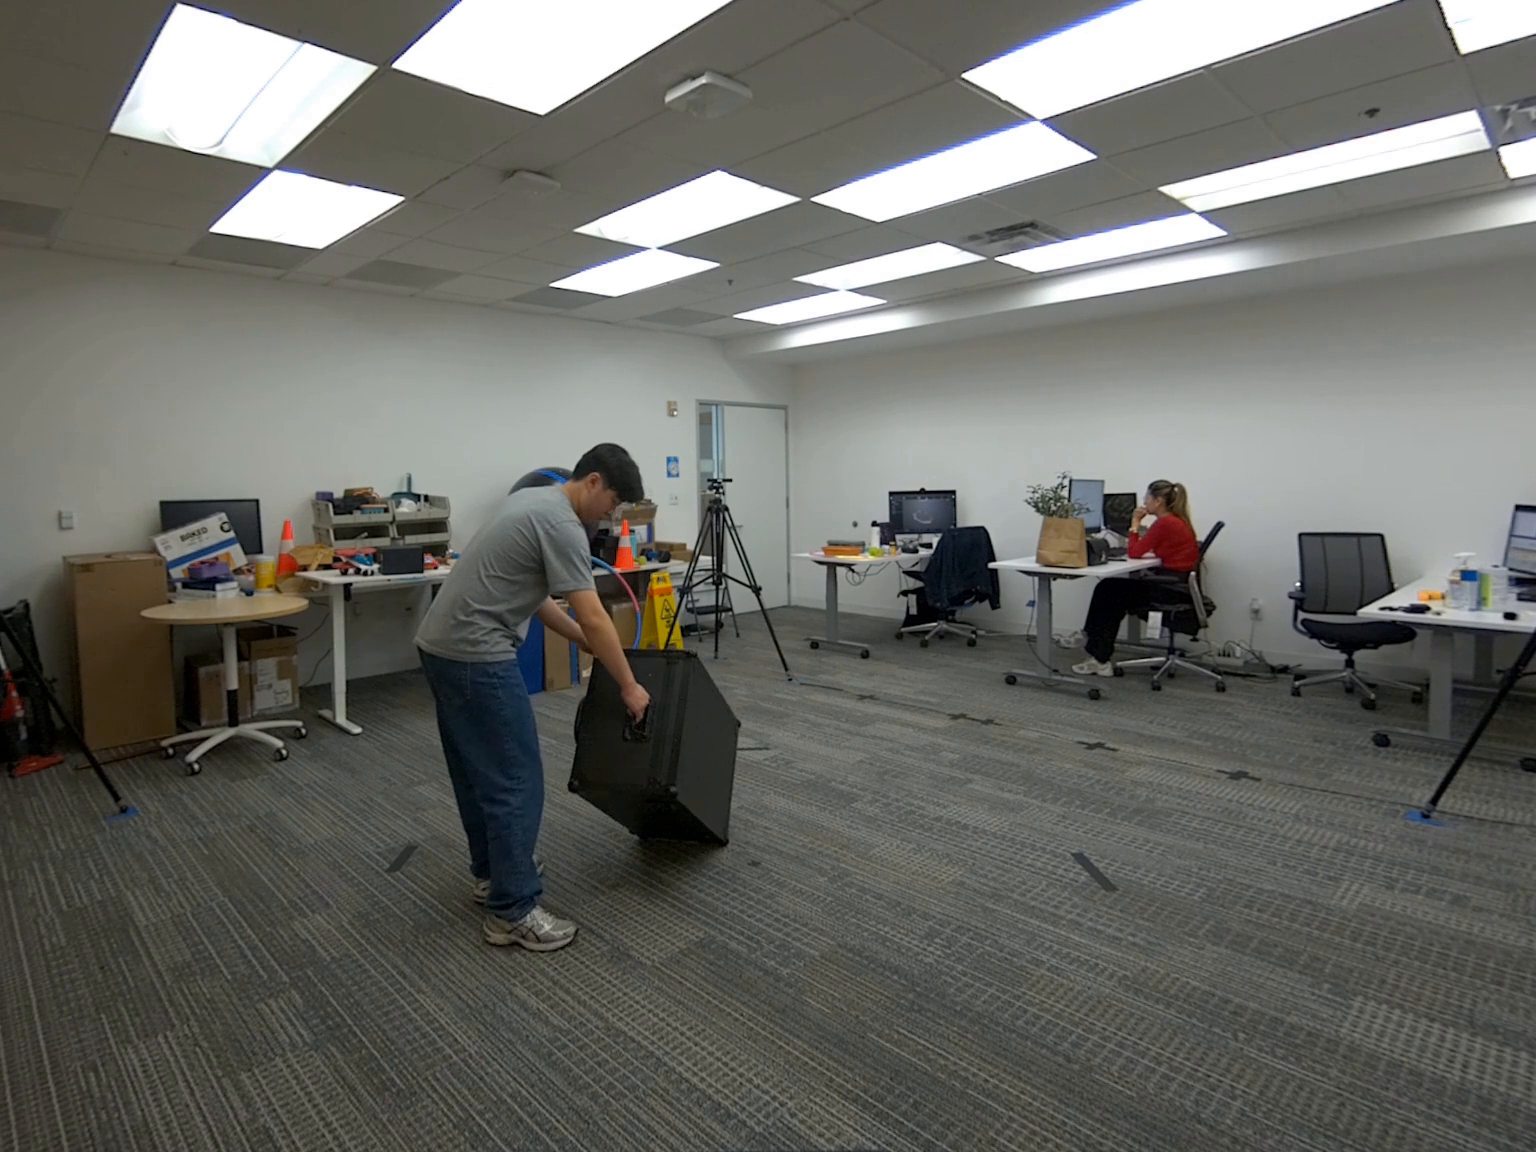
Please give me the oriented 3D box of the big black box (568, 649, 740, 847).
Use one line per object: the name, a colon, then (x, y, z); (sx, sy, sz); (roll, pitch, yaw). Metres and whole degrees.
big black box: (-0.379, 0.657, 3.123); (0.401, 0.532, 0.834); (-1, -28, 12)
